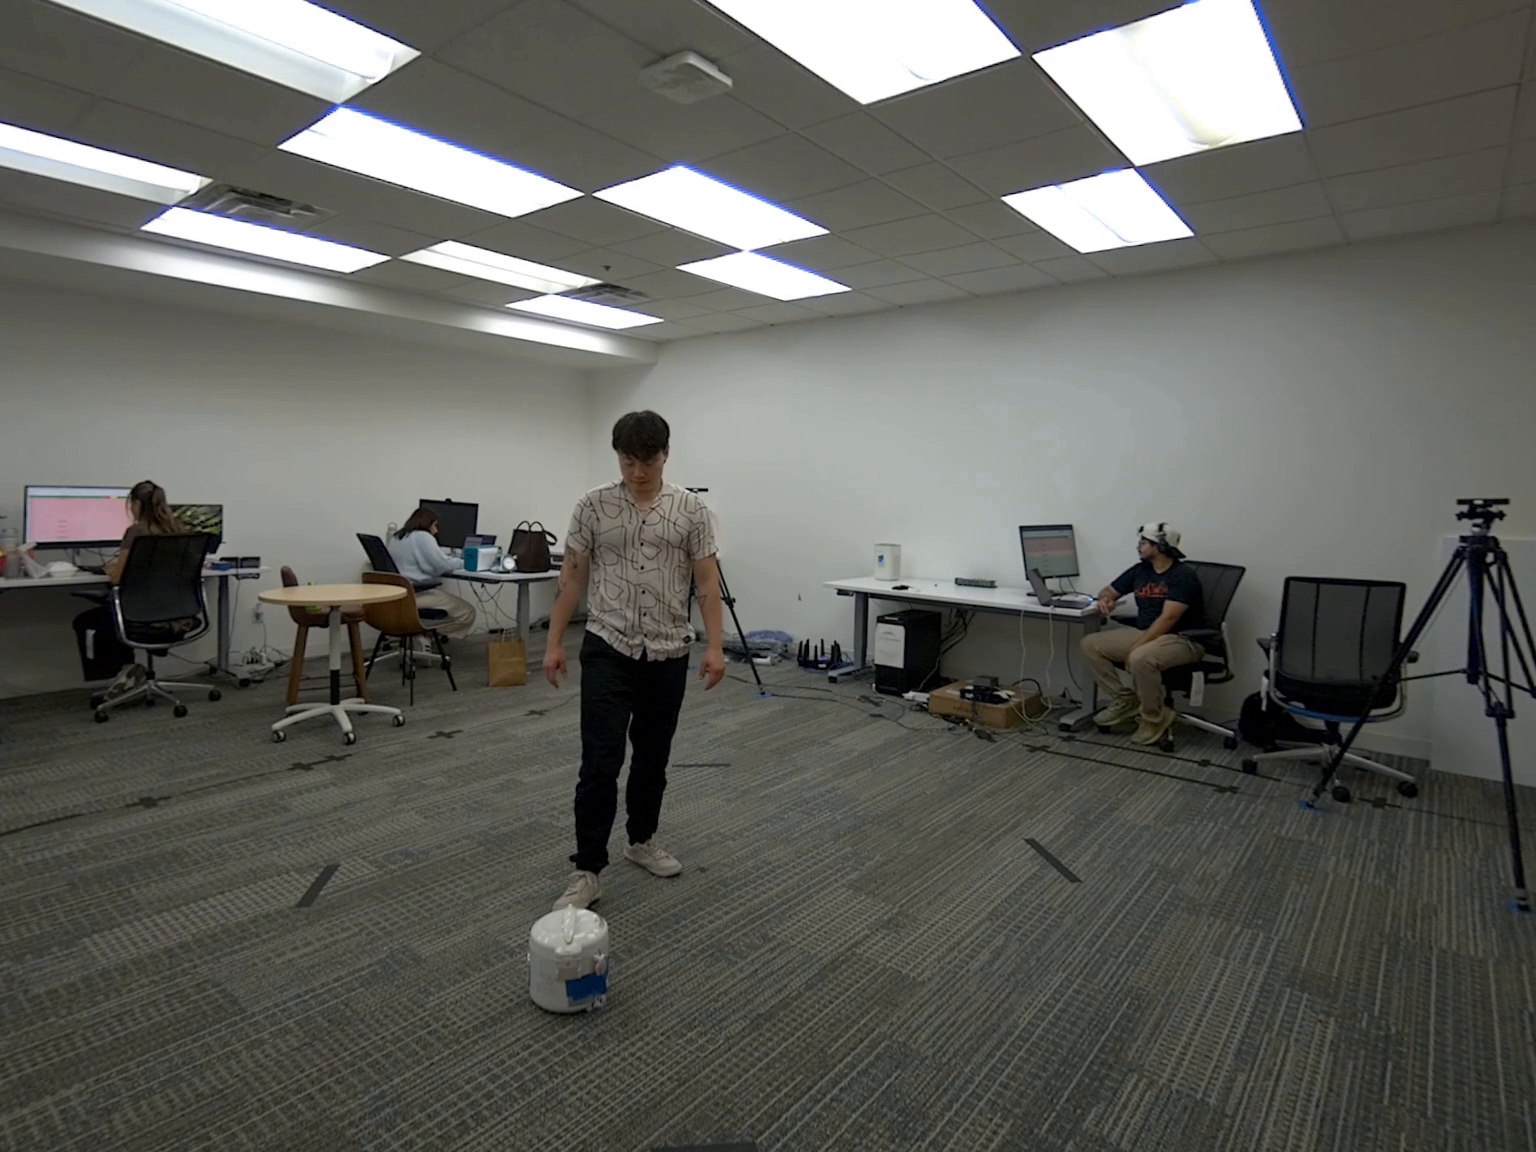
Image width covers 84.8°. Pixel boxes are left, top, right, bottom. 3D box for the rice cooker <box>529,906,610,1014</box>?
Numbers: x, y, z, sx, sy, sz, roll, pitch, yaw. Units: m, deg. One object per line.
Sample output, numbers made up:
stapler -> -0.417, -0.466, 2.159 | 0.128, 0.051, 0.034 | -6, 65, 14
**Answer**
rice cooker -> -0.548, 1.024, 2.313 | 0.215, 0.232, 0.223 | 1, 4, -10
